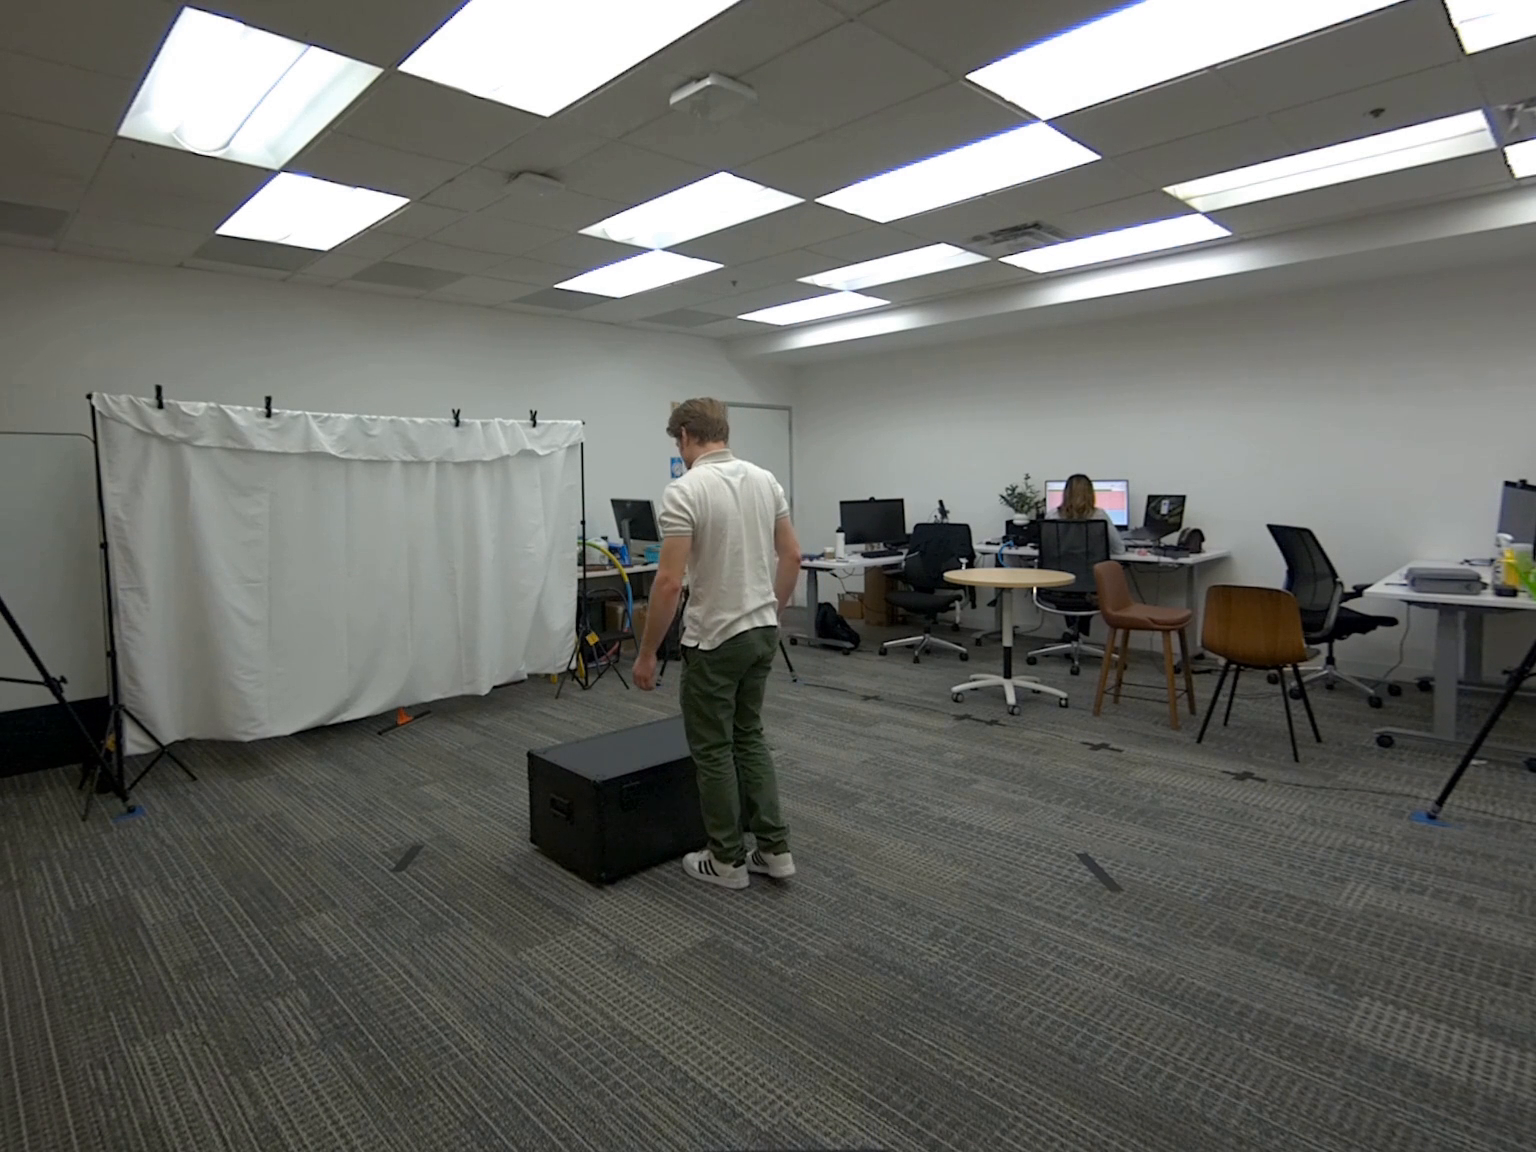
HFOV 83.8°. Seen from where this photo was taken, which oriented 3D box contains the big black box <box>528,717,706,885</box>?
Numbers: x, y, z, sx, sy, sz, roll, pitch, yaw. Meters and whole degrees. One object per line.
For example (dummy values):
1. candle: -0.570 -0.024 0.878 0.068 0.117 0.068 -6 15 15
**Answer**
1. big black box: -0.446 0.834 3.363 0.839 0.394 0.537 -8 9 -43
